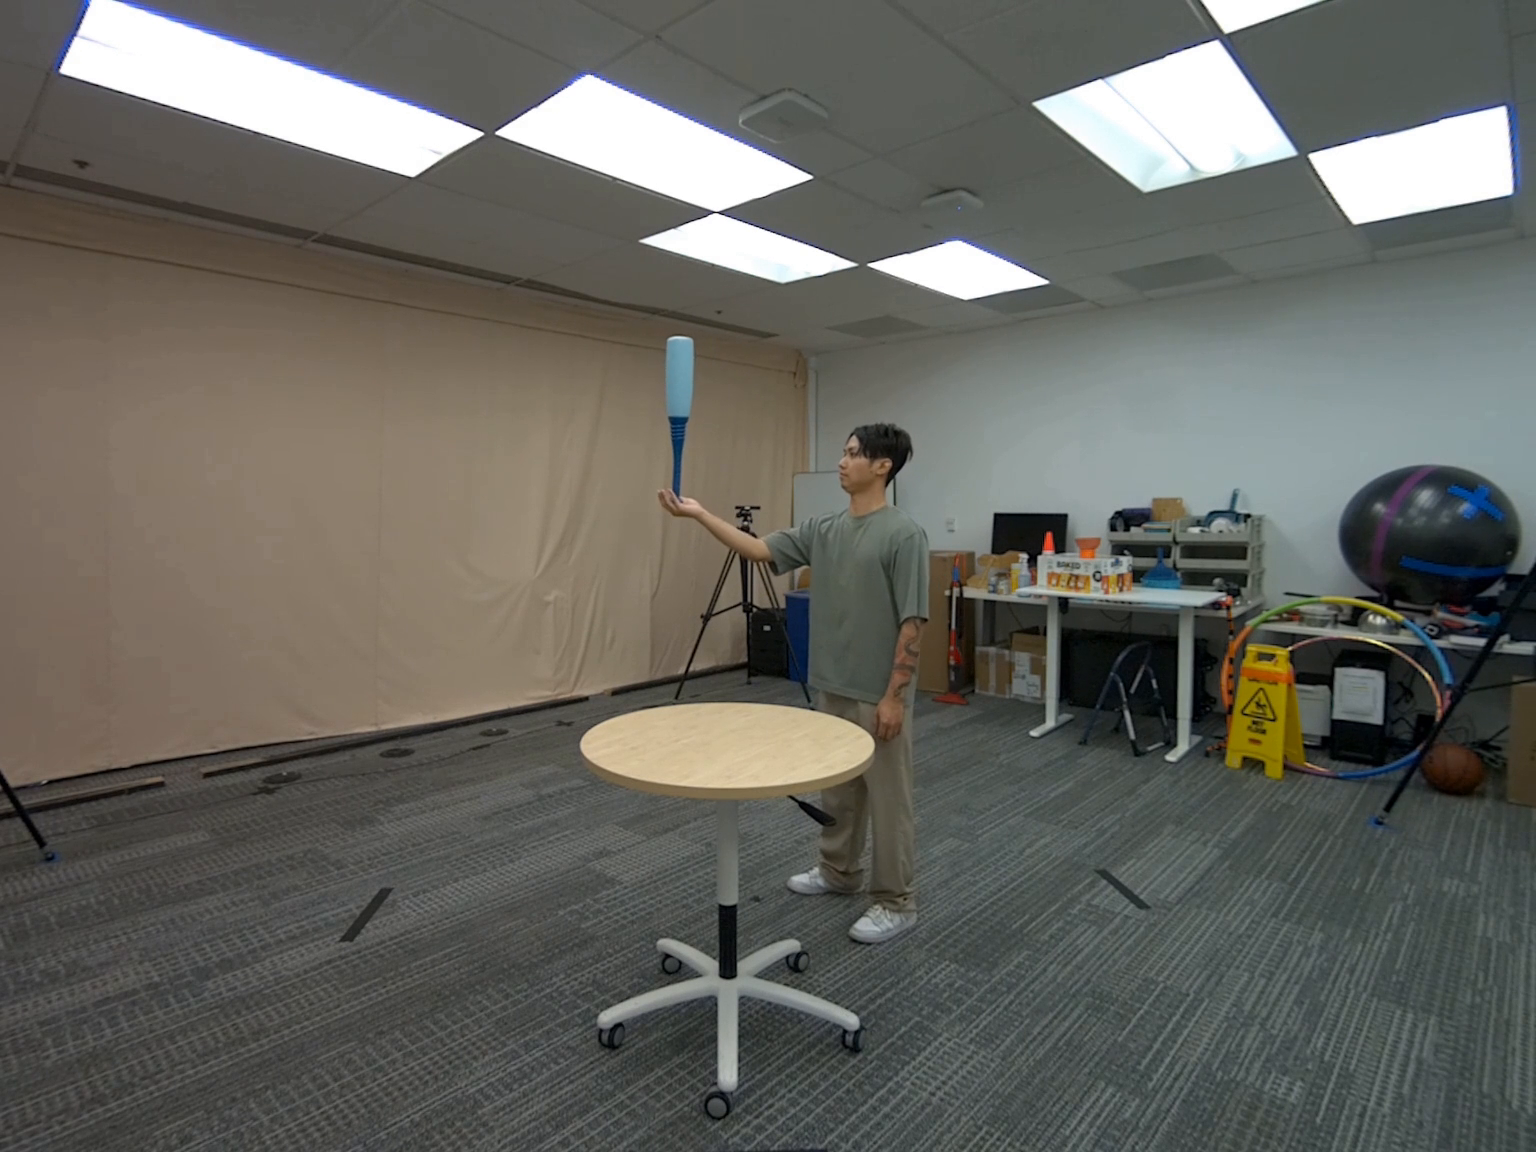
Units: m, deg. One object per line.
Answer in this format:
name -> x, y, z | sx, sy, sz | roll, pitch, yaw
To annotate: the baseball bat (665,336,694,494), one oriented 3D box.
baseball bat -> -0.287, -0.500, 2.718 | 0.089, 0.540, 0.090 | 4, 9, -2
